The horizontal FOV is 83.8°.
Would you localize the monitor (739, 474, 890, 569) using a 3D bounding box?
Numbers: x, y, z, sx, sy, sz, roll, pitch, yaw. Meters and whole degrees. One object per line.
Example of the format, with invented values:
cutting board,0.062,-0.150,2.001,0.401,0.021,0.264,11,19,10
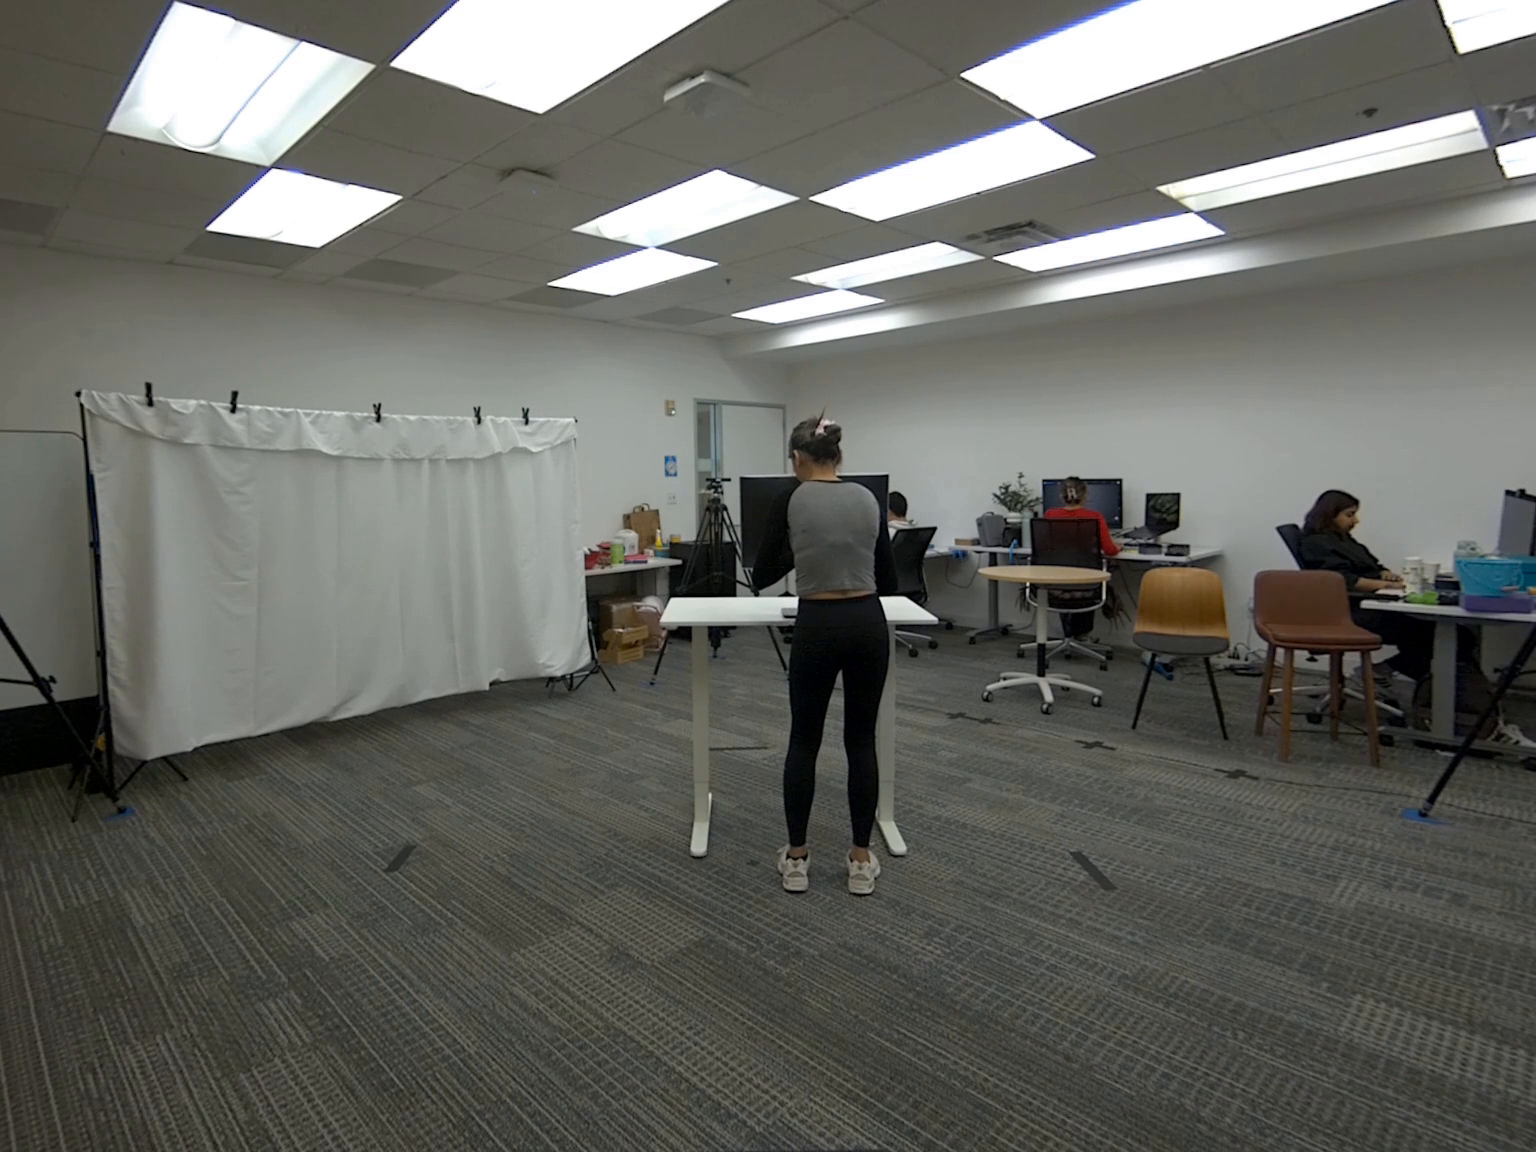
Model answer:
monitor,0.171,-0.108,3.201,0.540,0.522,0.187,1,2,1
